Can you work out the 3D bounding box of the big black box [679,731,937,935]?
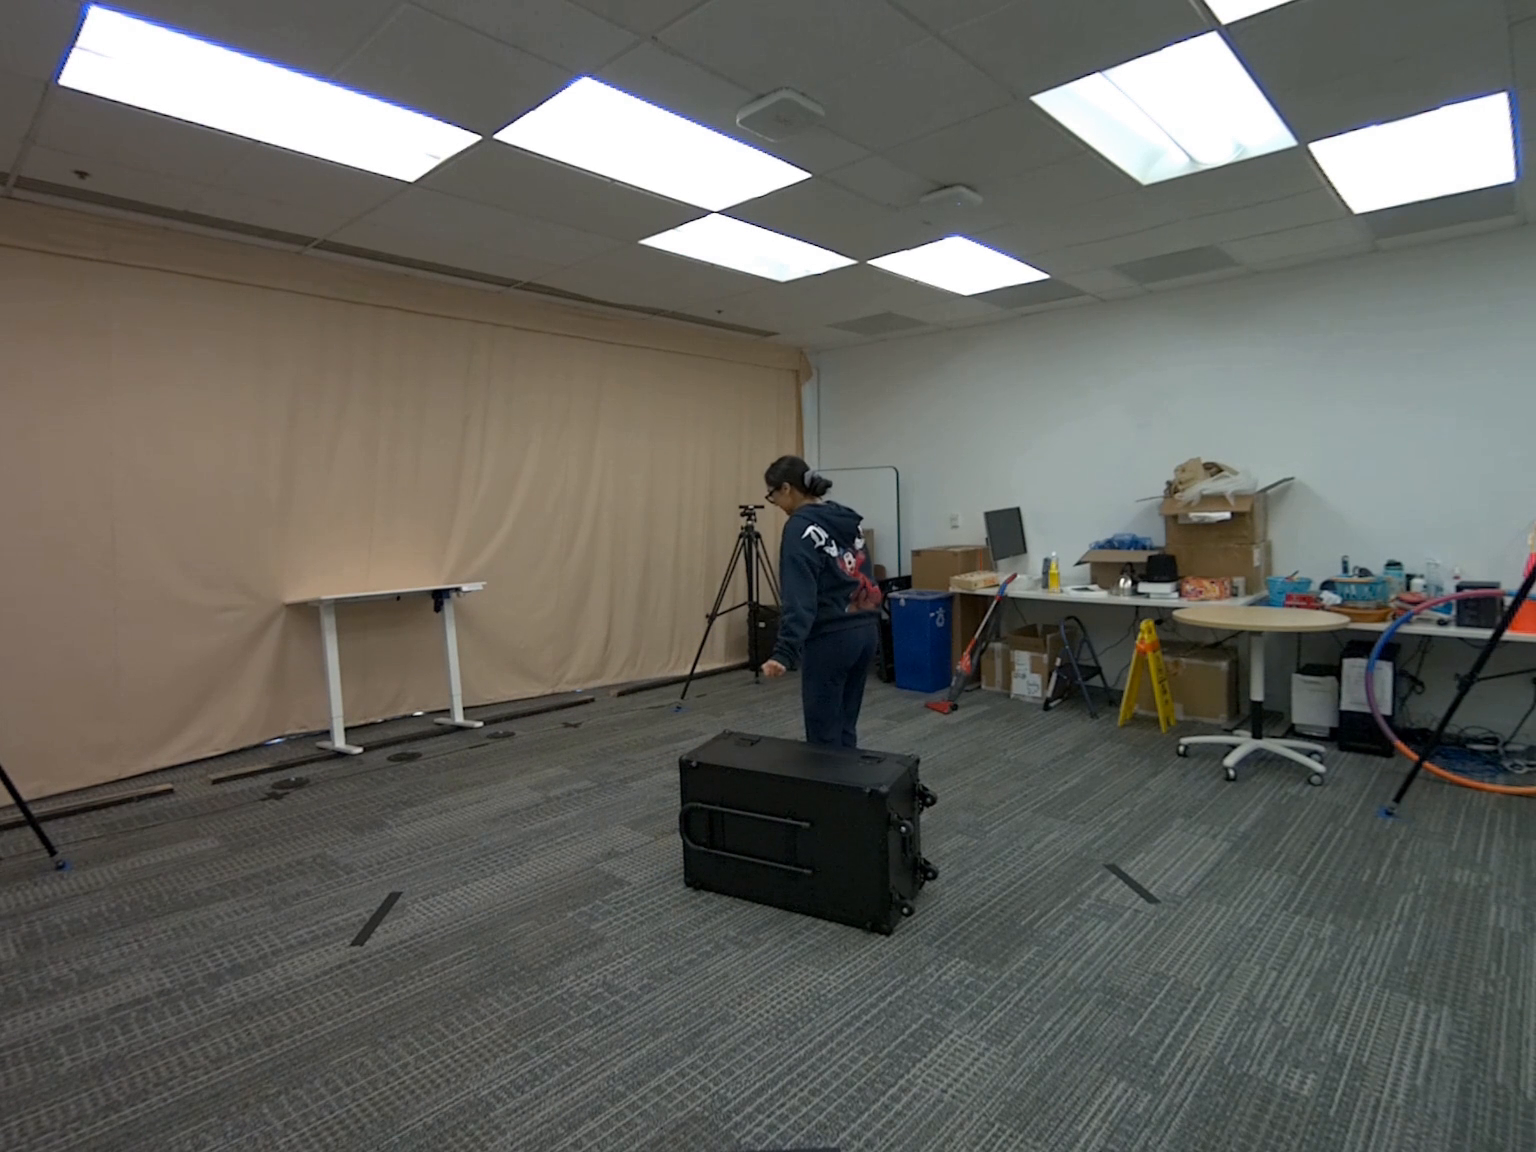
[{"bbox_3d":[0.135,0.884,2.996,0.885,0.519,0.387,1,7,28],"label":"big black box"}]
